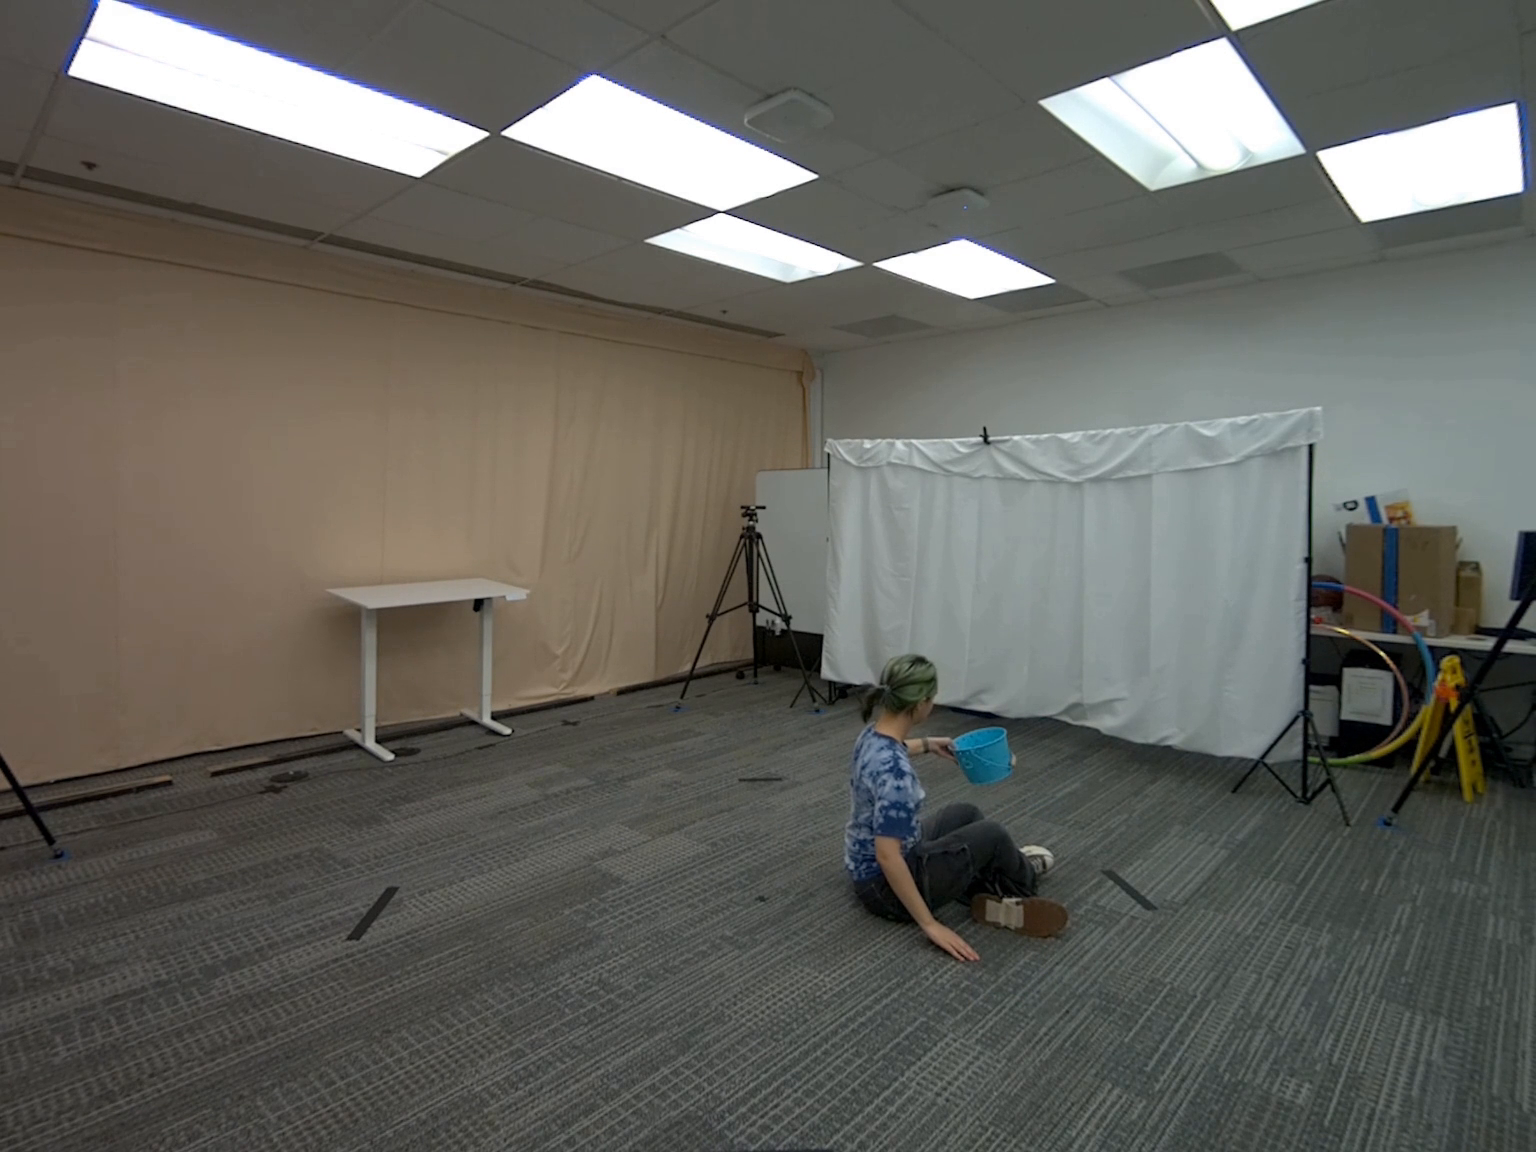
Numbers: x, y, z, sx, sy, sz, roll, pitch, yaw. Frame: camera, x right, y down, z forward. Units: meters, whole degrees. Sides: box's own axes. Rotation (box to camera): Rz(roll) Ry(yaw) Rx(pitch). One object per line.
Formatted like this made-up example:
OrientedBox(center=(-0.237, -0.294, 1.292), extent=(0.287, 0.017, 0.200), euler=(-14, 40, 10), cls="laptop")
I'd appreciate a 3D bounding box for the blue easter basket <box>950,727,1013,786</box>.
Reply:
OrientedBox(center=(0.848, 0.725, 3.338), extent=(0.243, 0.156, 0.244), euler=(-20, 1, -2), cls="blue easter basket")
